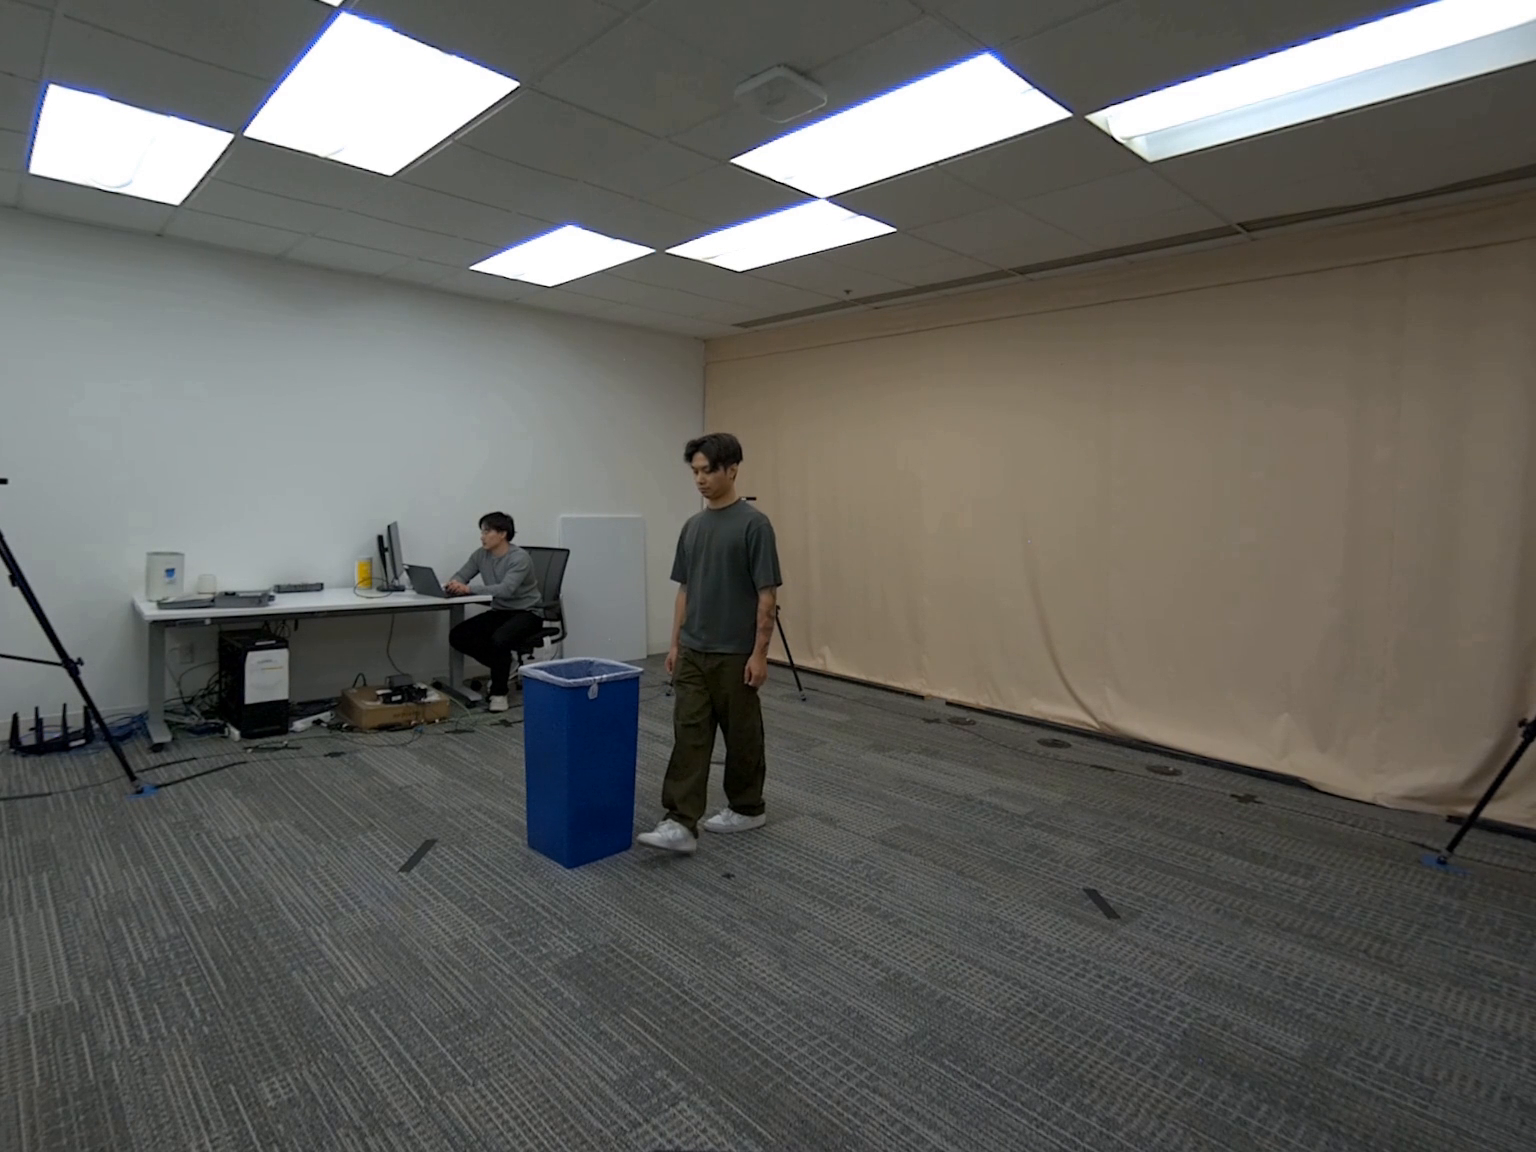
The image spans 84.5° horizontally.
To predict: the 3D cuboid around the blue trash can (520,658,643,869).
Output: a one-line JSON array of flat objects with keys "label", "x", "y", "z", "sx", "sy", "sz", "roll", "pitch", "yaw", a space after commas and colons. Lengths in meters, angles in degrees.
[{"label": "blue trash can", "x": -0.751, "y": 0.718, "z": 3.307, "sx": 0.387, "sy": 0.712, "sz": 0.365, "roll": 3, "pitch": 3, "yaw": 42}]
